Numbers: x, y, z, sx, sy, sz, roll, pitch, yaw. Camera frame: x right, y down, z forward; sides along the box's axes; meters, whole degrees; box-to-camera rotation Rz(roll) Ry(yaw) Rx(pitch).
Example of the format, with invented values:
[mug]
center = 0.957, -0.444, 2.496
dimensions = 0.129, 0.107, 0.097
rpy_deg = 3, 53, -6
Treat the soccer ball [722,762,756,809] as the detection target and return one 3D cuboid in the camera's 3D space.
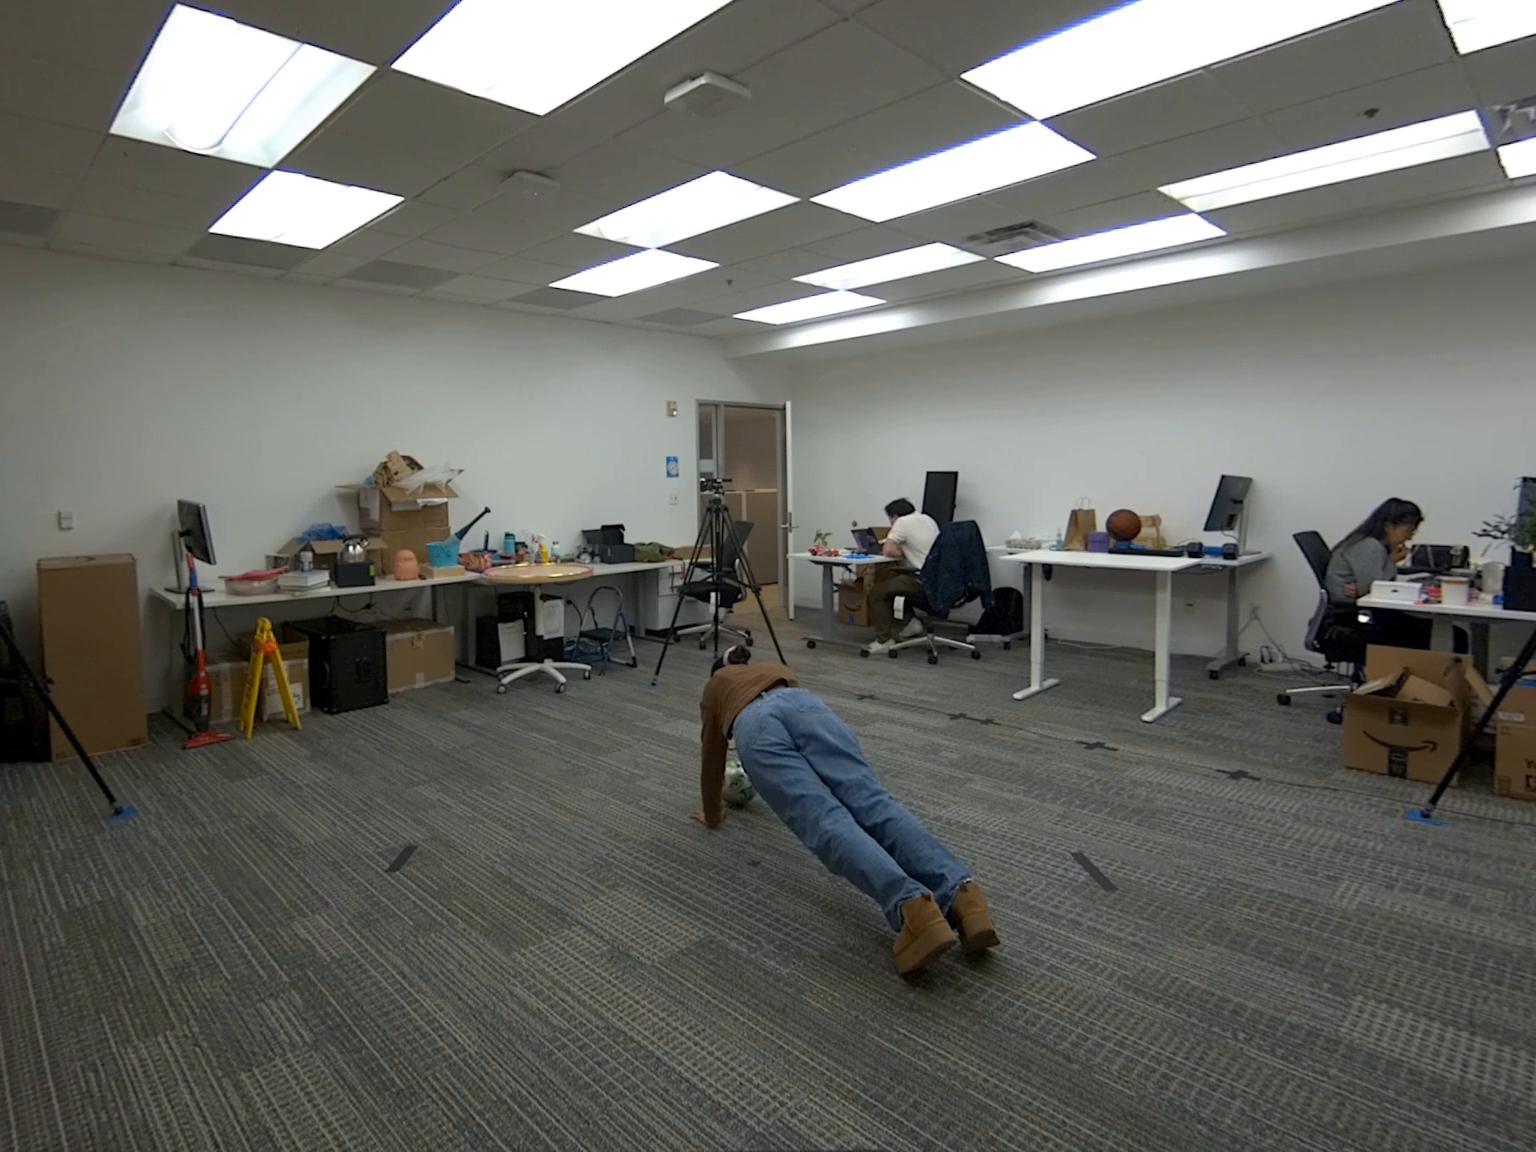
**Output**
[soccer ball]
center = -0.136, 0.893, 3.695
dimensions = 0.187, 0.187, 0.188
rpy_deg = -1, 5, -2
